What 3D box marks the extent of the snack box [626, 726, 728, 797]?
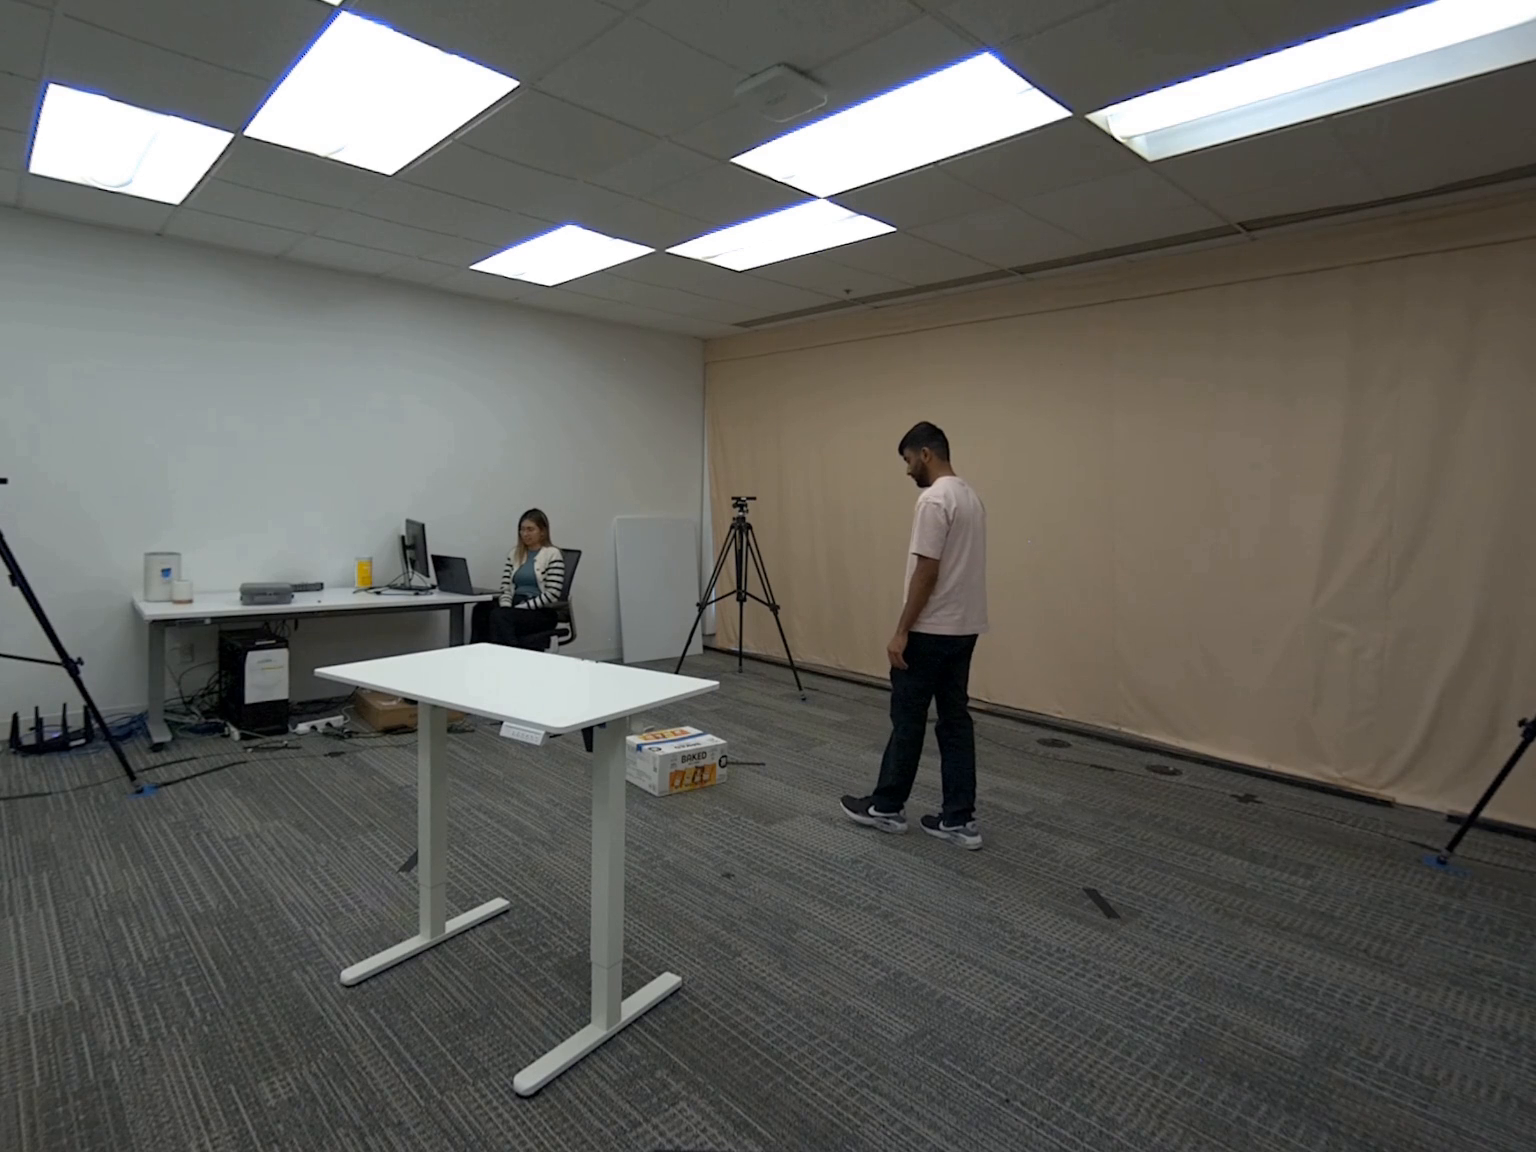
[{"bbox_3d":[-0.474,0.908,4.154,0.396,0.205,0.349,-2,5,-39],"label":"snack box"}]
